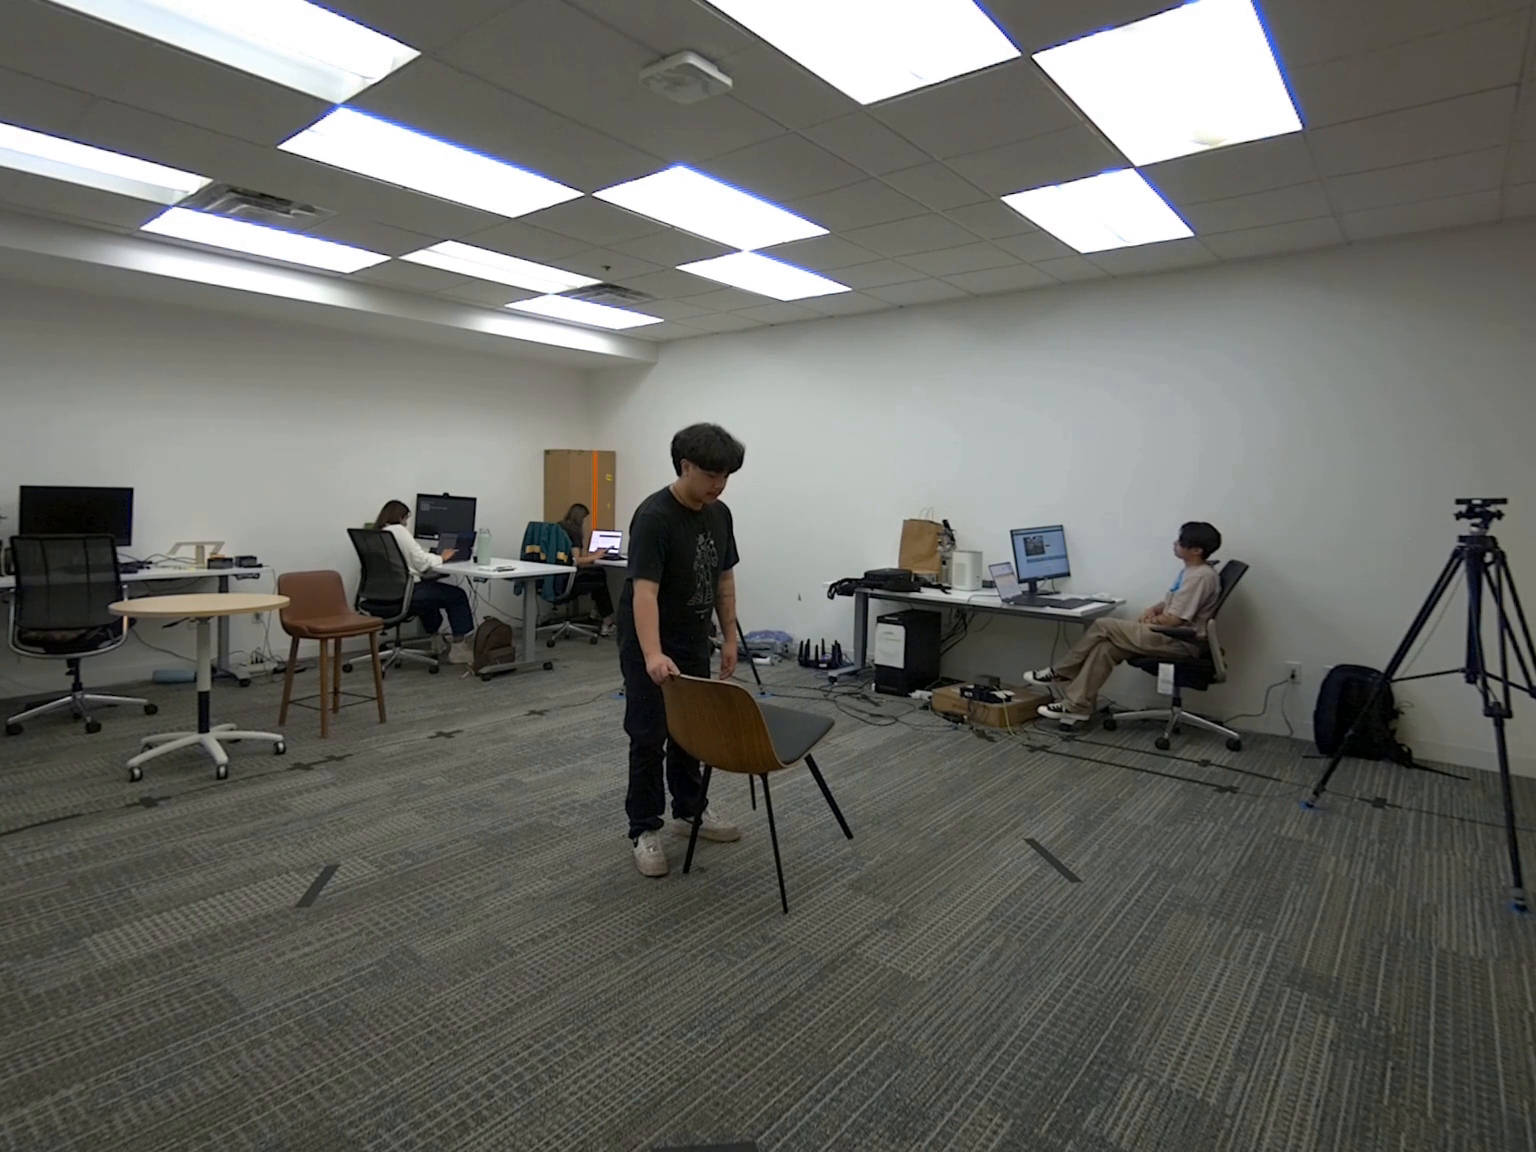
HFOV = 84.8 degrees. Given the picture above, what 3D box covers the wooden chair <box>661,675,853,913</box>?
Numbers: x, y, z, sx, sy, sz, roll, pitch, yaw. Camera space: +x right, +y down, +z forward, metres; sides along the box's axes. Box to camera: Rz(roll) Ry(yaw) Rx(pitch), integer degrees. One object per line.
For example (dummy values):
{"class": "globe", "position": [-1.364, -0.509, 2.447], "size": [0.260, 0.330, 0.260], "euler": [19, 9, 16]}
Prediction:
{"class": "wooden chair", "position": [-0.053, 0.610, 2.989], "size": [0.494, 0.859, 0.517], "euler": [4, 24, 37]}
